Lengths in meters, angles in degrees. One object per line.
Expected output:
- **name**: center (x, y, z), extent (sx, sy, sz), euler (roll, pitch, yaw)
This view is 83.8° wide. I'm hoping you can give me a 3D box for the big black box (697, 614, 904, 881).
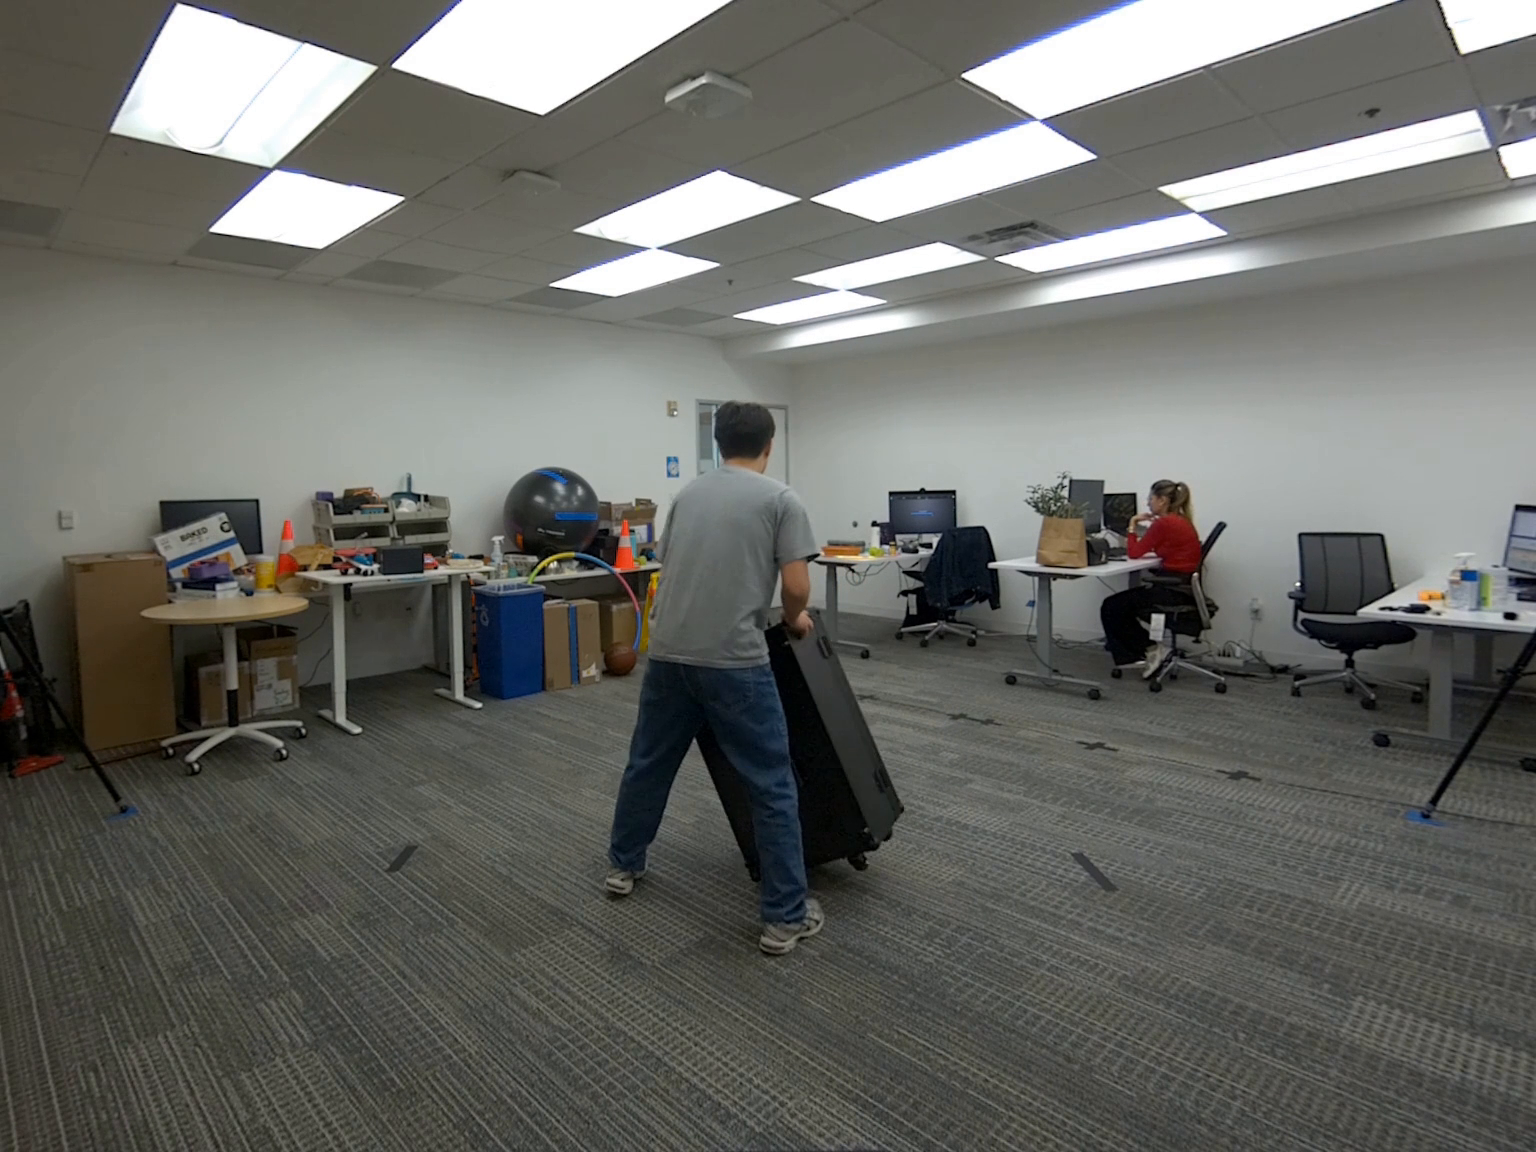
- **big black box**: center (0.080, 0.617, 3.020), extent (0.527, 0.868, 0.389), euler (-26, -6, 24)
